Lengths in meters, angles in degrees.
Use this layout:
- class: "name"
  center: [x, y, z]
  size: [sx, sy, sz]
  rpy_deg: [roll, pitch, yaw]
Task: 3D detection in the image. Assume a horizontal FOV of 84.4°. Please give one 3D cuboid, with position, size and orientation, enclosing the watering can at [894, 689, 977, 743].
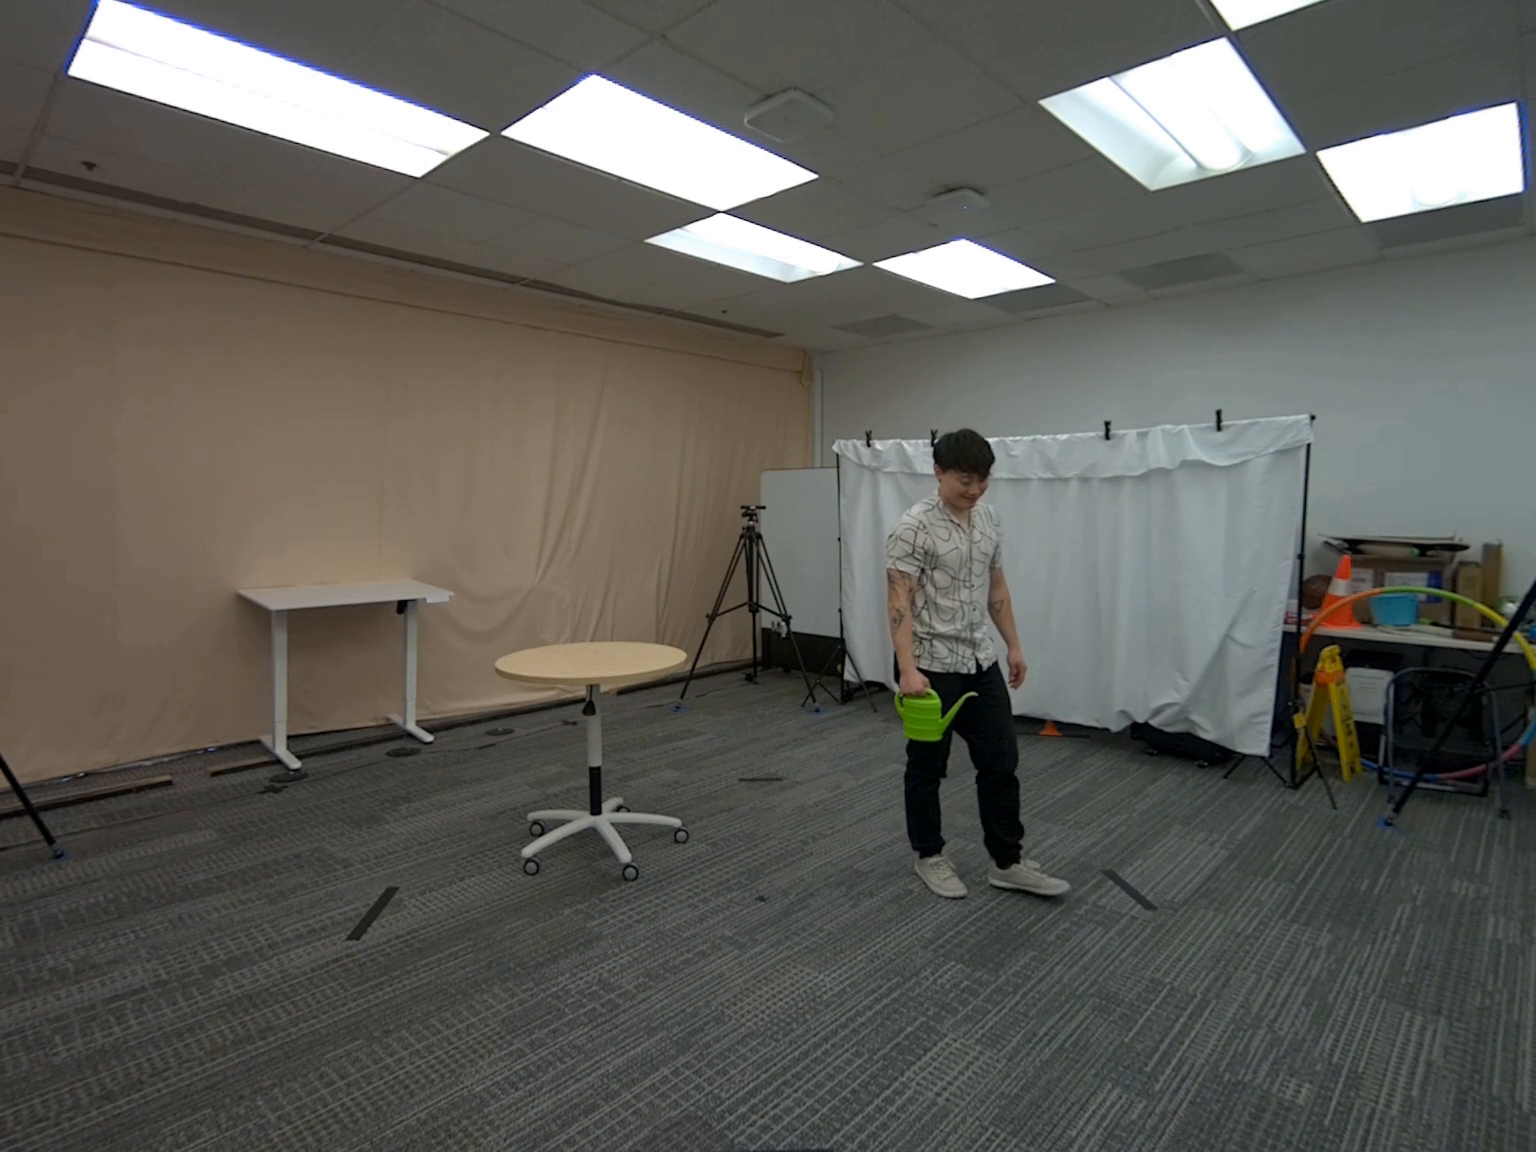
- class: "watering can"
  center: [0.555, 0.461, 2.821]
  size: [0.095, 0.176, 0.287]
  rpy_deg: [-9, 8, -43]
